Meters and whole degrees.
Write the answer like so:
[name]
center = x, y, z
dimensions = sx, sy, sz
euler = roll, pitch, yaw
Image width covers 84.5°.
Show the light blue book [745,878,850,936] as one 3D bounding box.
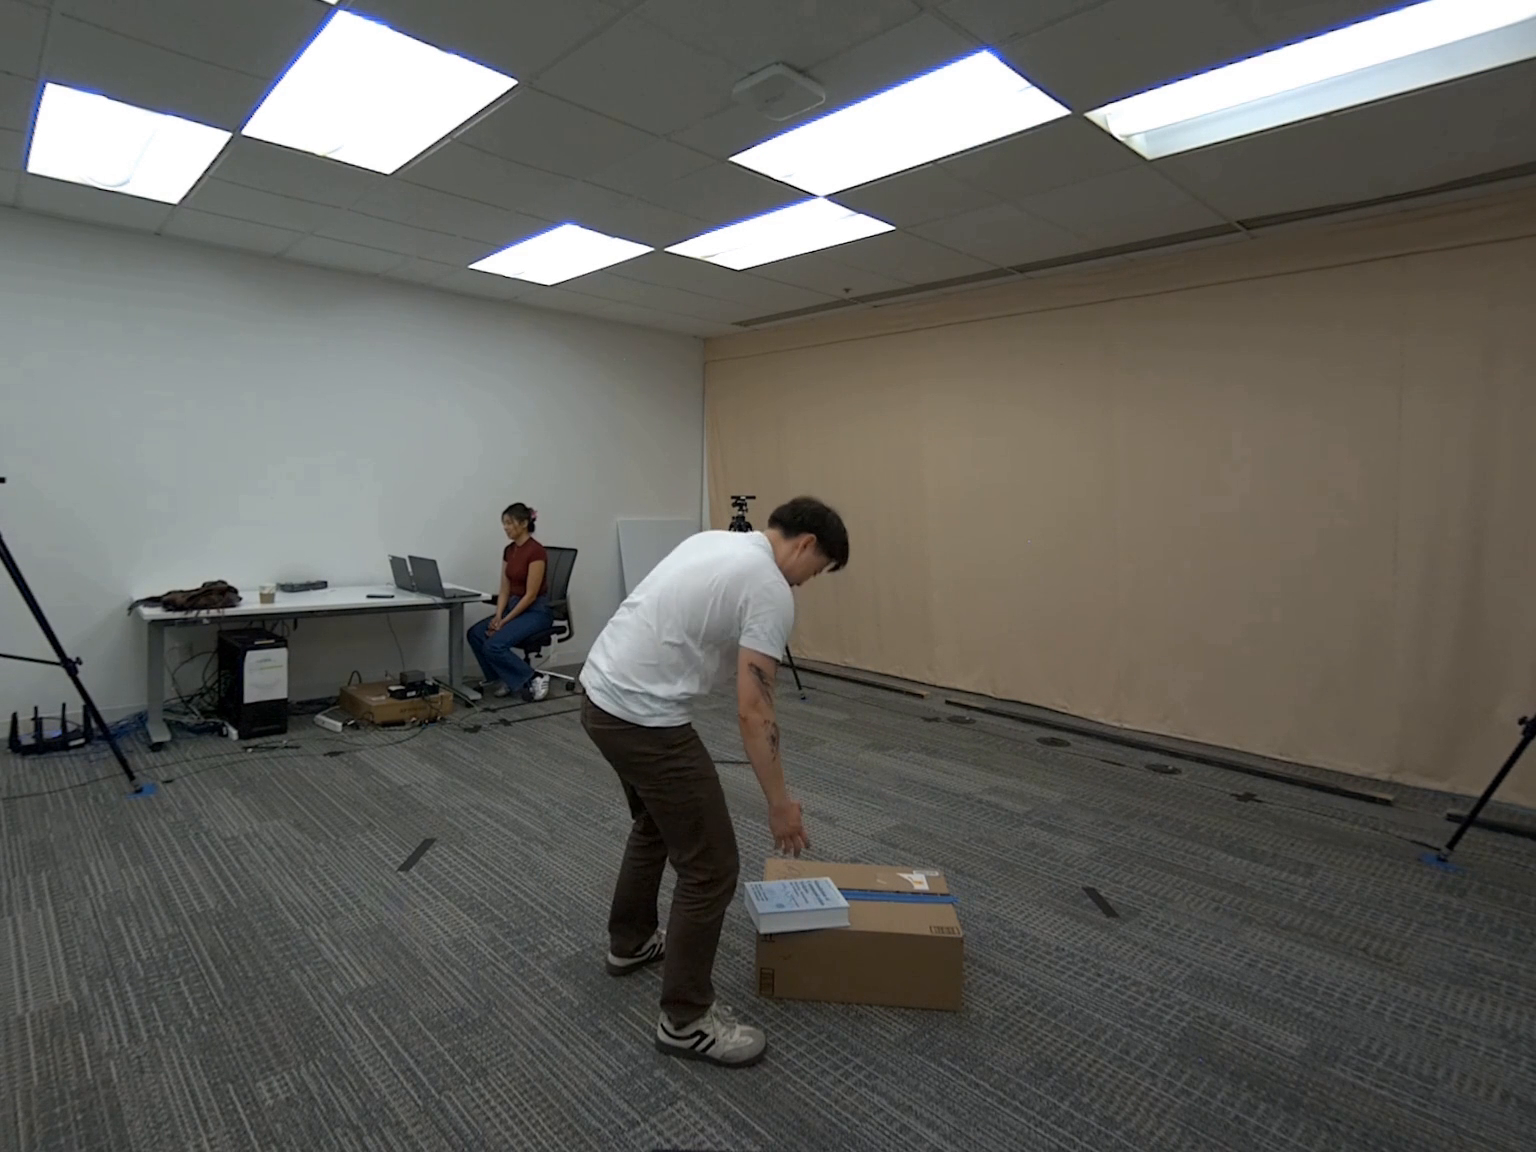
[light blue book]
center = 0.068, 0.934, 2.385
dimensions = 0.258, 0.059, 0.194
euler = 0, 6, -14
